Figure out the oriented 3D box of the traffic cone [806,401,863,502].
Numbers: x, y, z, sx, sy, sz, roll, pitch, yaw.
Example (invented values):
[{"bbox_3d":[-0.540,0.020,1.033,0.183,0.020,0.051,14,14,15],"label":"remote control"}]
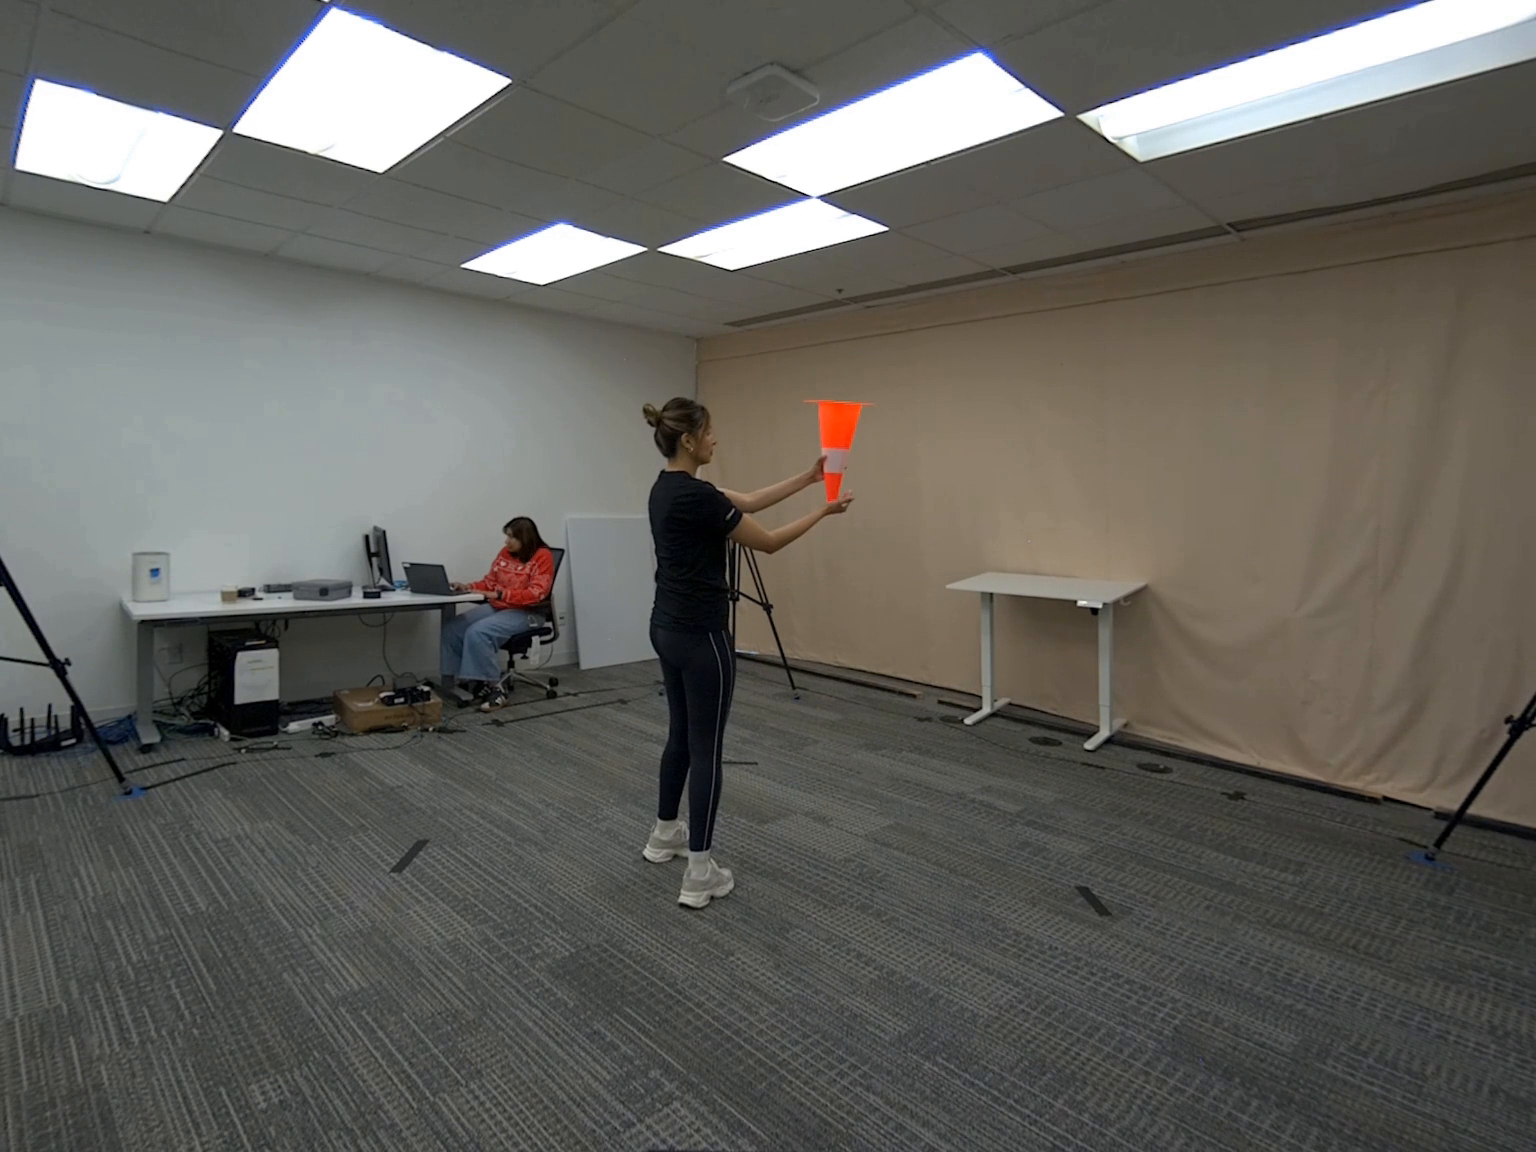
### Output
[{"bbox_3d":[0.247,-0.446,3.098,0.209,0.382,0.200,11,10,42],"label":"traffic cone"}]
